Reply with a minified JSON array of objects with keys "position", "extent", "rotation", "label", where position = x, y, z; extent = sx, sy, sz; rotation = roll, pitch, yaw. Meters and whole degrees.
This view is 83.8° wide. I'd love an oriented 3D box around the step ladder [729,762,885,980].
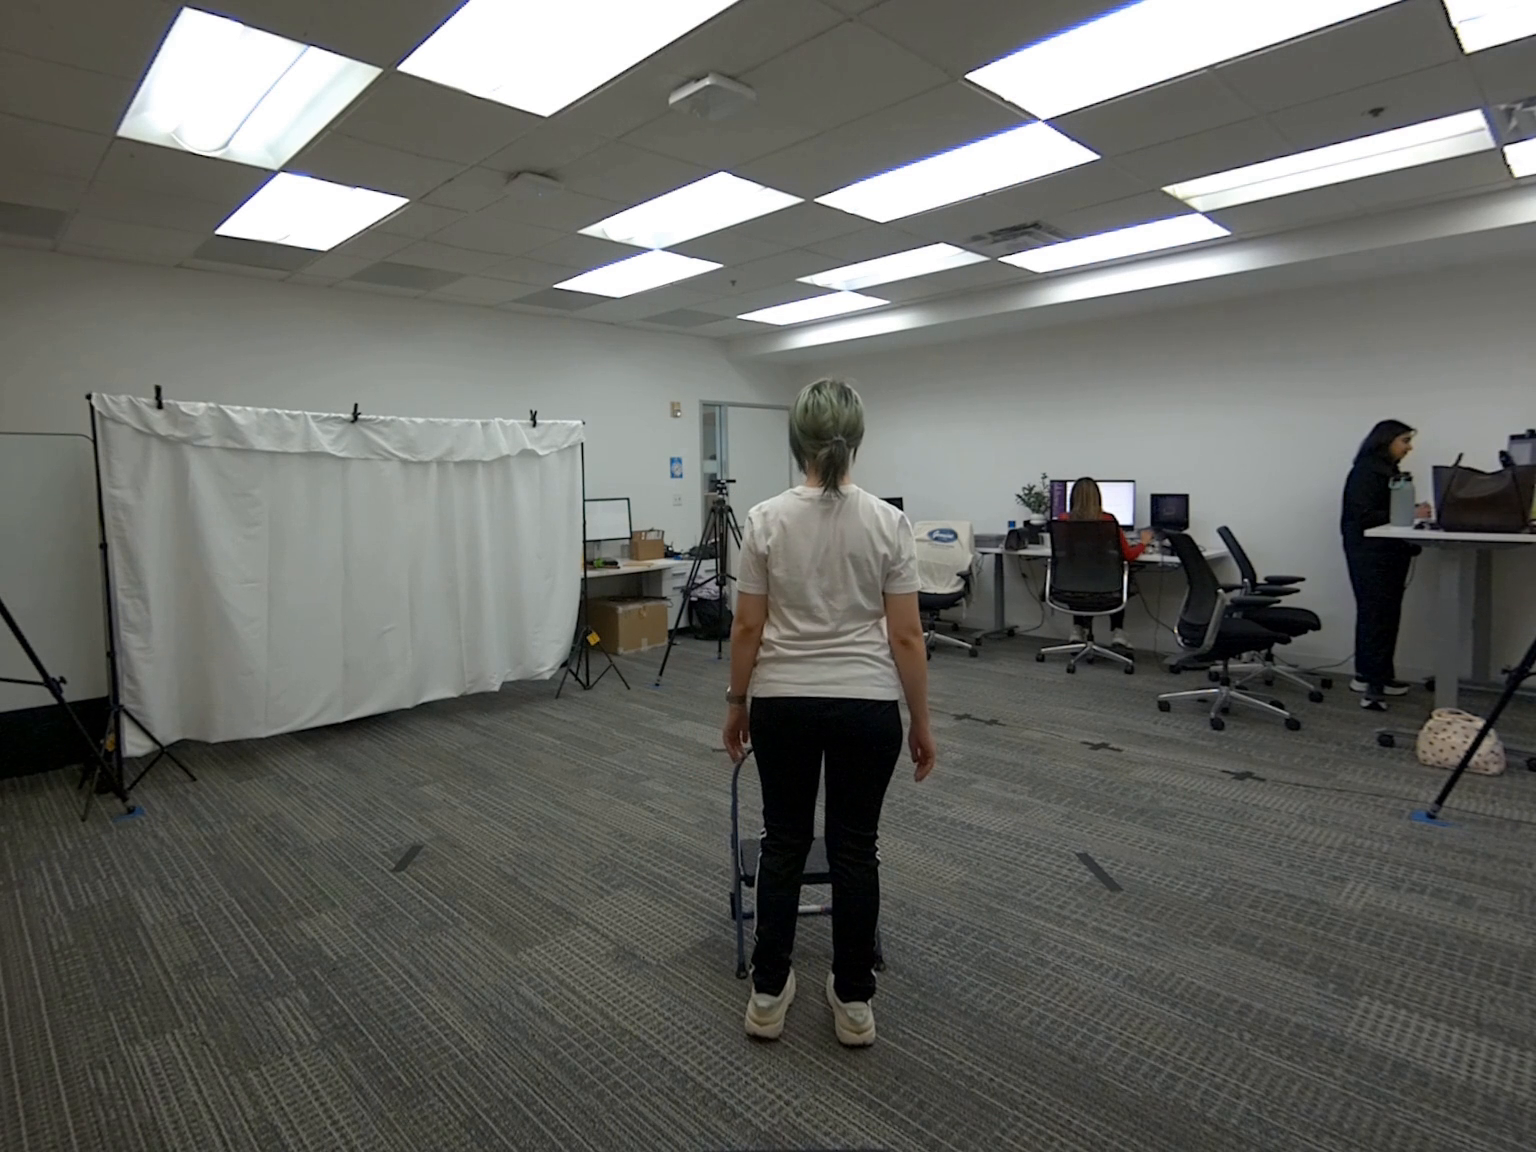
[{"position":[0.104,0.809,2.566],"extent":[0.429,0.604,0.352],"rotation":[-1,4,-5],"label":"step ladder"}]
